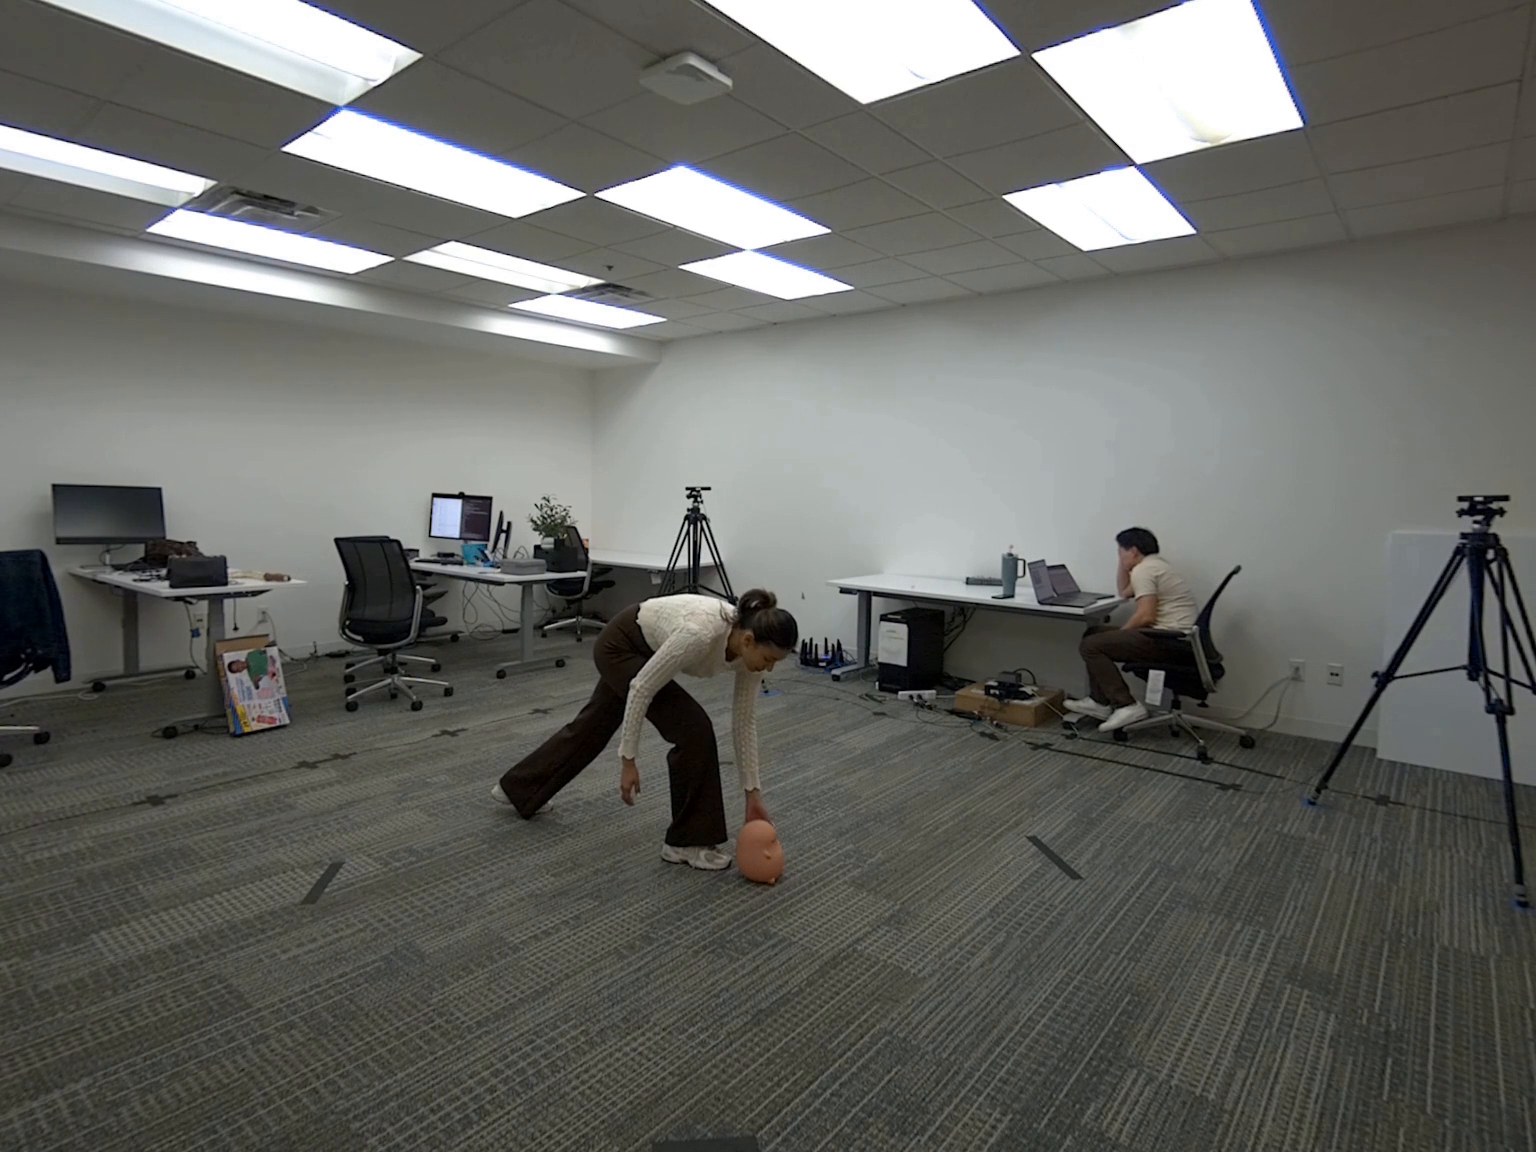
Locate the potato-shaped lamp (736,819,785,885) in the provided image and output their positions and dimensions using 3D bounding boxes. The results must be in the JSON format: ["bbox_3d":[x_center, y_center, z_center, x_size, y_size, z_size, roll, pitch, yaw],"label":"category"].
[{"bbox_3d":[-0.034,0.973,3.055,0.175,0.198,0.161,4,3,20],"label":"potato-shaped lamp"}]
